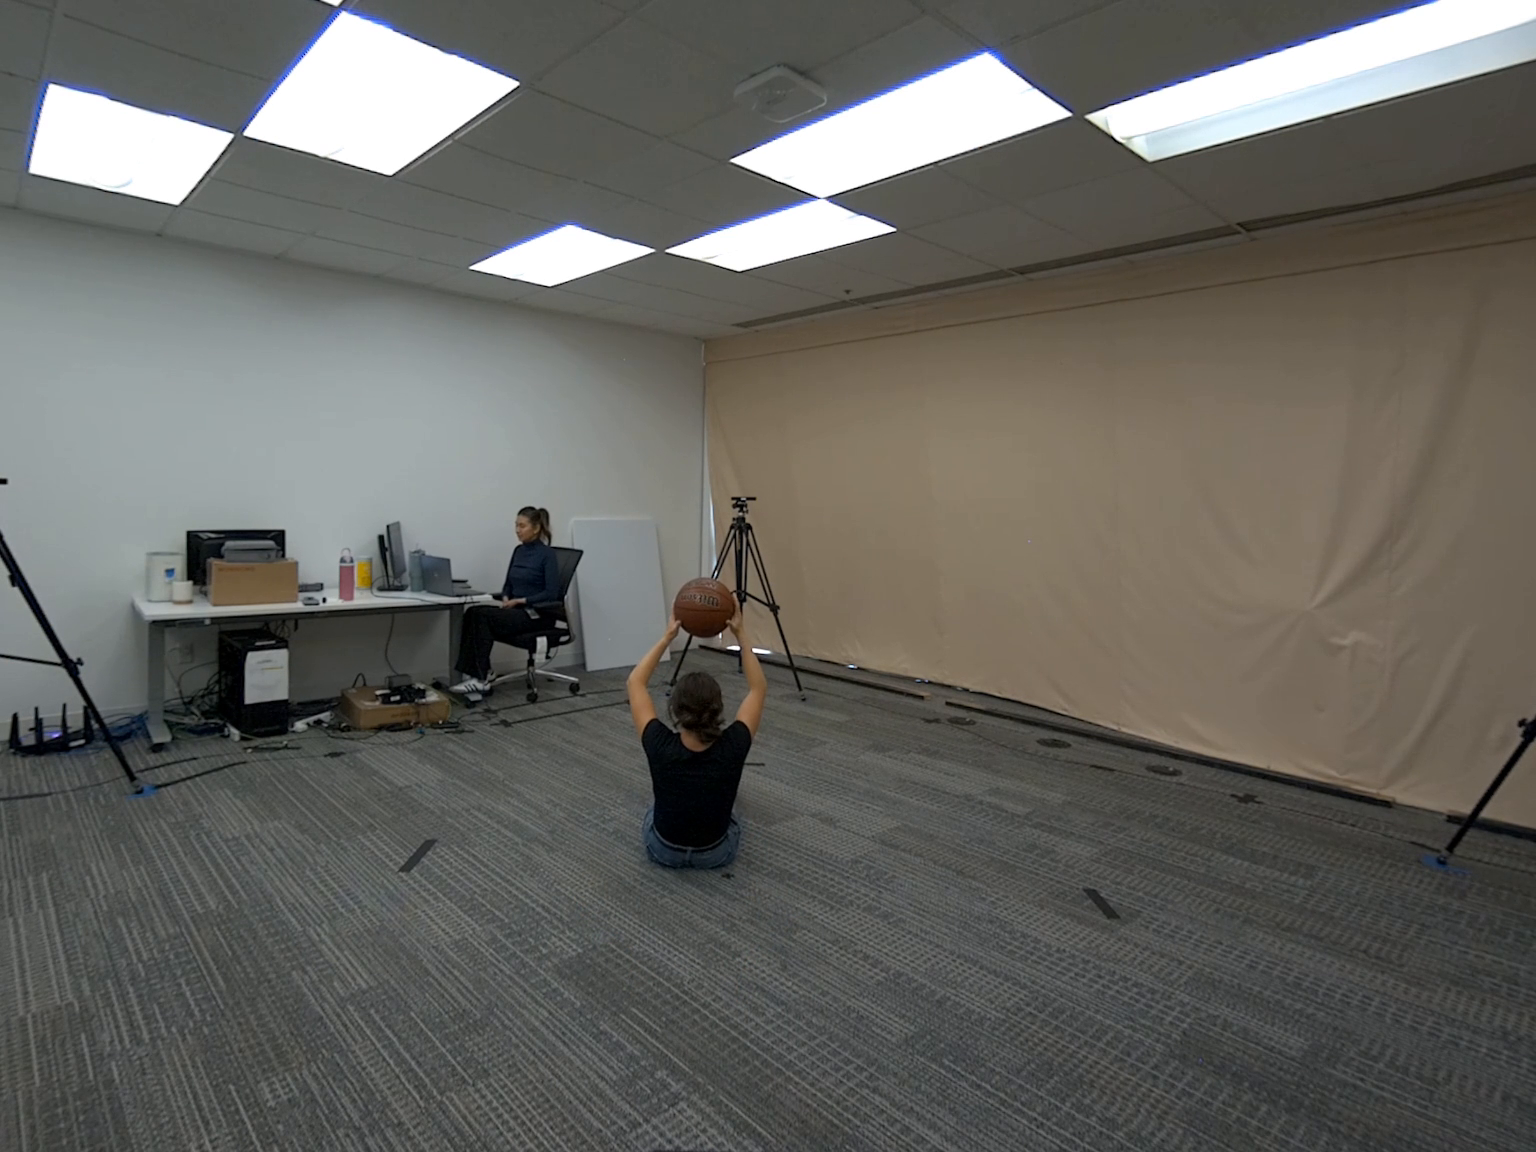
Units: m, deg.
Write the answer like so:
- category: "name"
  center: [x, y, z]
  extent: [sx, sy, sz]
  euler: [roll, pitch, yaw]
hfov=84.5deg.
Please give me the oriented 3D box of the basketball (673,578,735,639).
- category: "basketball"
  center: [-0.257, 0.131, 3.341]
  extent: [0.236, 0.235, 0.237]
  euler: [1, 4, -1]
